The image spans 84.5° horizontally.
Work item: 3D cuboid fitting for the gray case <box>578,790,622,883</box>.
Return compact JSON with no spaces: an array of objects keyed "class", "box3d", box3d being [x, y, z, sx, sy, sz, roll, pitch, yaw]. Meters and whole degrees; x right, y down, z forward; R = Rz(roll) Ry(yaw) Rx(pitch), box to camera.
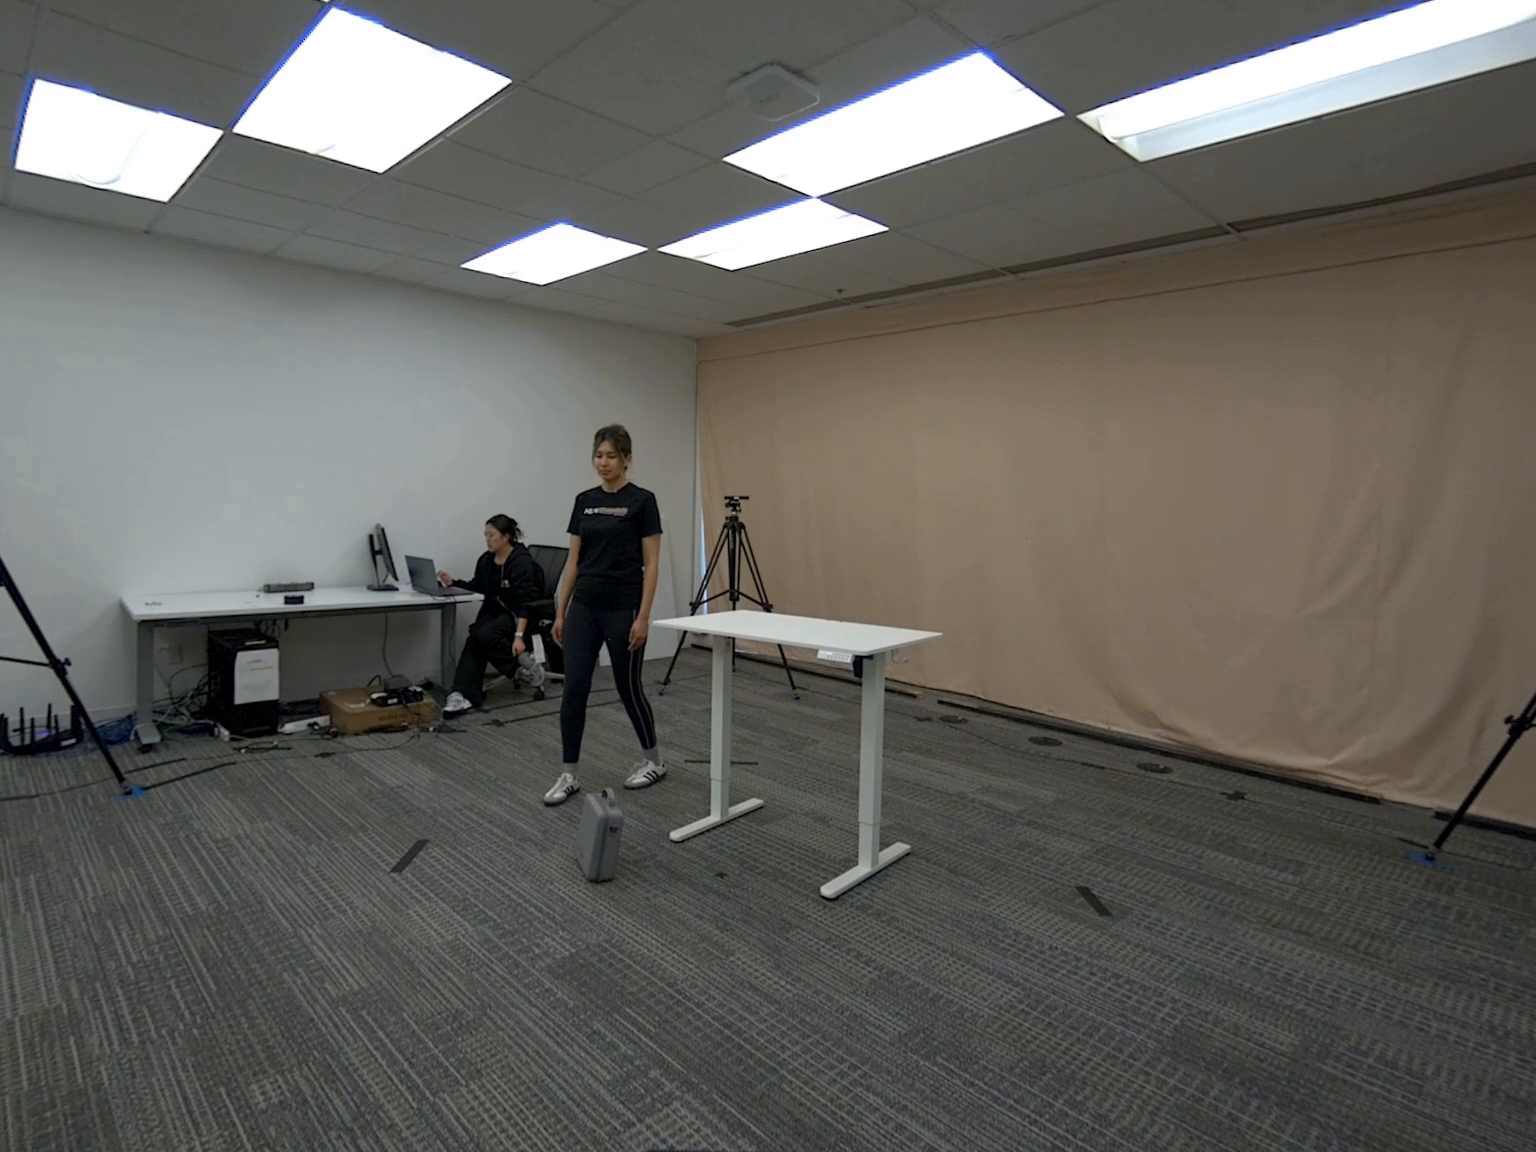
[{"class":"gray case","box3d":[-0.633,0.956,3.118,0.102,0.260,0.262,9,1,-23]}]
